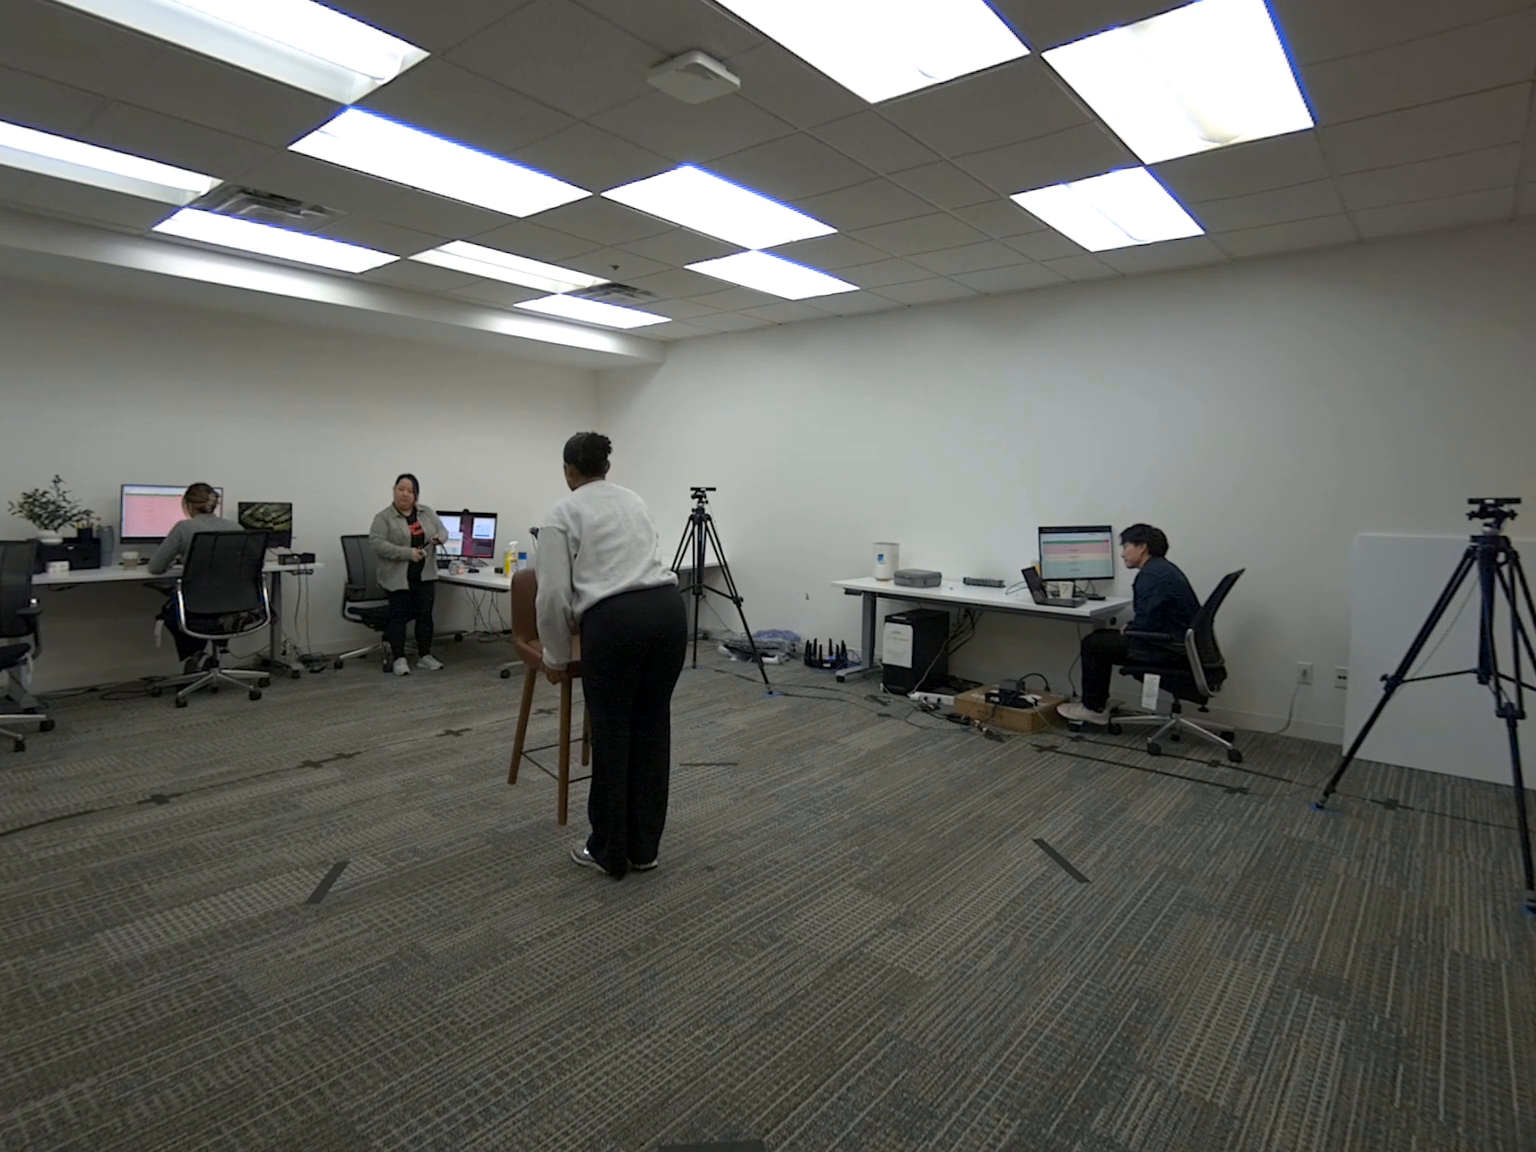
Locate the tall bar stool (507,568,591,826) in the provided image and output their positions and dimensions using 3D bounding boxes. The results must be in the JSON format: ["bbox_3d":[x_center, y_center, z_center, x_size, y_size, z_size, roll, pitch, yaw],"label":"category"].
[{"bbox_3d":[-0.757,0.433,3.349,0.443,0.886,0.484,-2,7,-43],"label":"tall bar stool"}]
